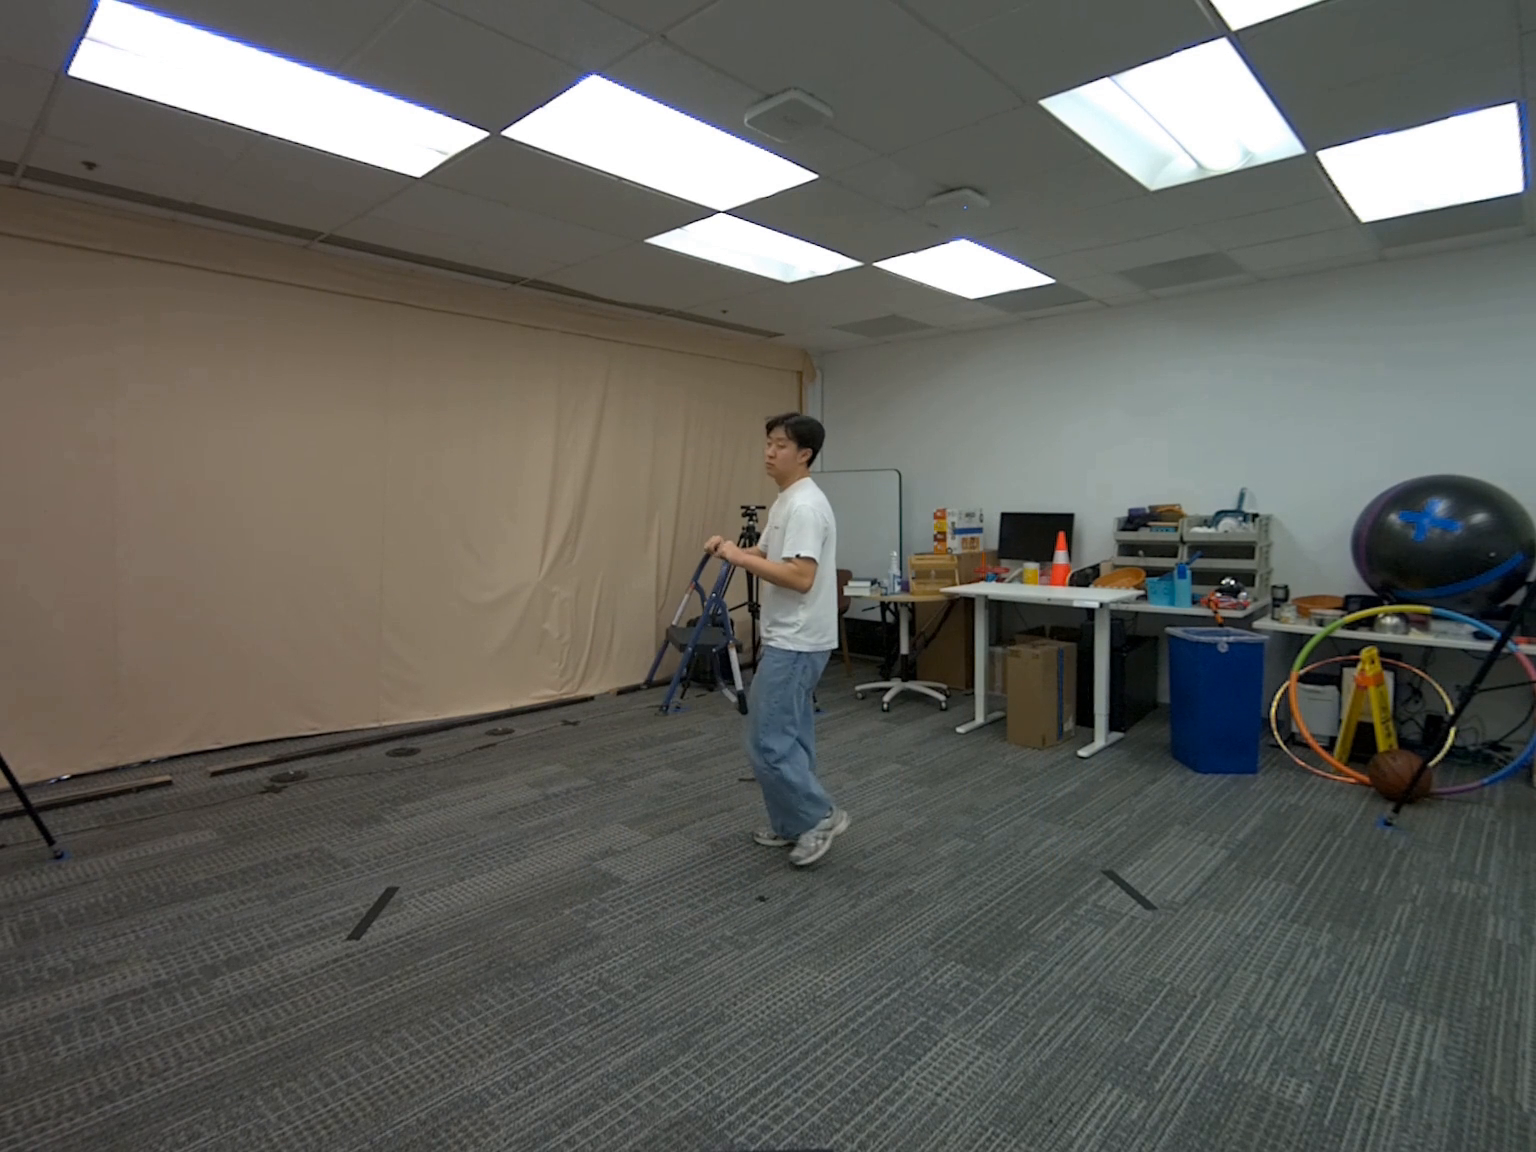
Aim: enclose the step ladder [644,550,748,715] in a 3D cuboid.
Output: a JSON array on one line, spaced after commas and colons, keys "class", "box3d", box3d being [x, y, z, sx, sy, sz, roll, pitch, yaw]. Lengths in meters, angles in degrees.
[{"class": "step ladder", "box3d": [-0.262, 0.191, 3.246, 0.344, 0.604, 0.438, 3, 5, -15]}]
